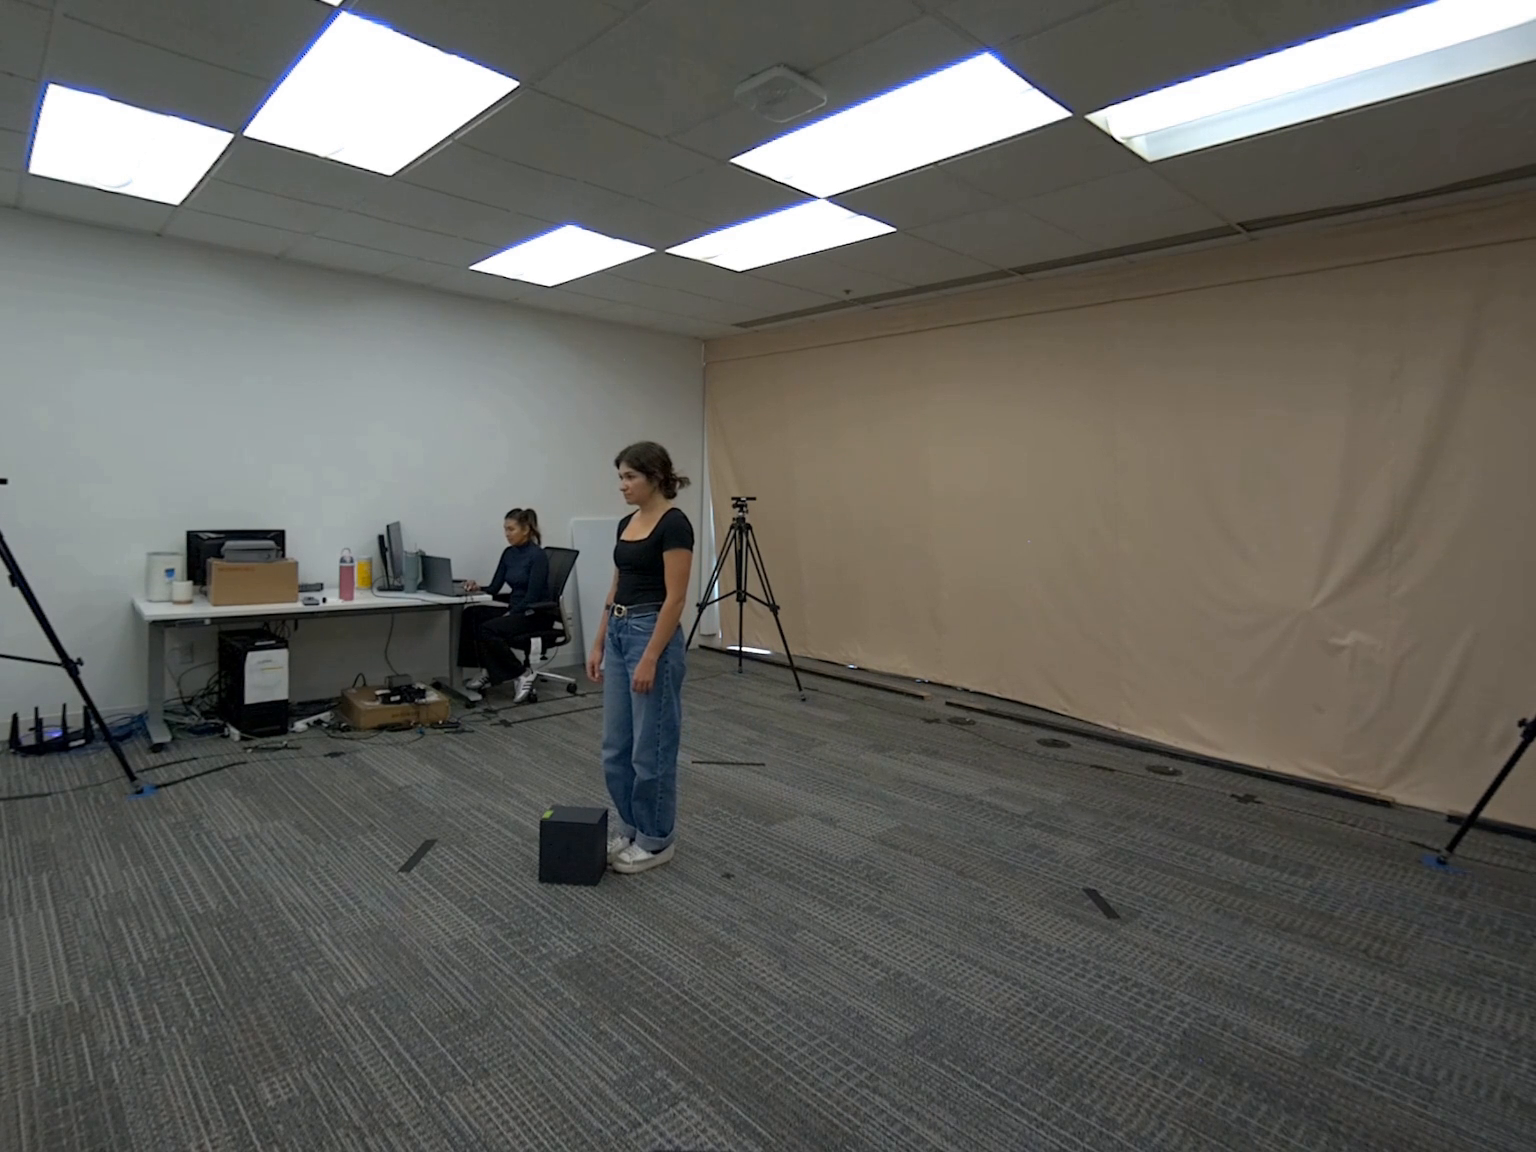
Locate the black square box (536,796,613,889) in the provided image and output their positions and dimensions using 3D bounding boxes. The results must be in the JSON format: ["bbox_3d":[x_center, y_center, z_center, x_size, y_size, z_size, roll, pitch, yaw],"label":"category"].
[{"bbox_3d":[-0.717,0.976,3.071,0.218,0.227,0.156,1,3,4],"label":"black square box"}]
